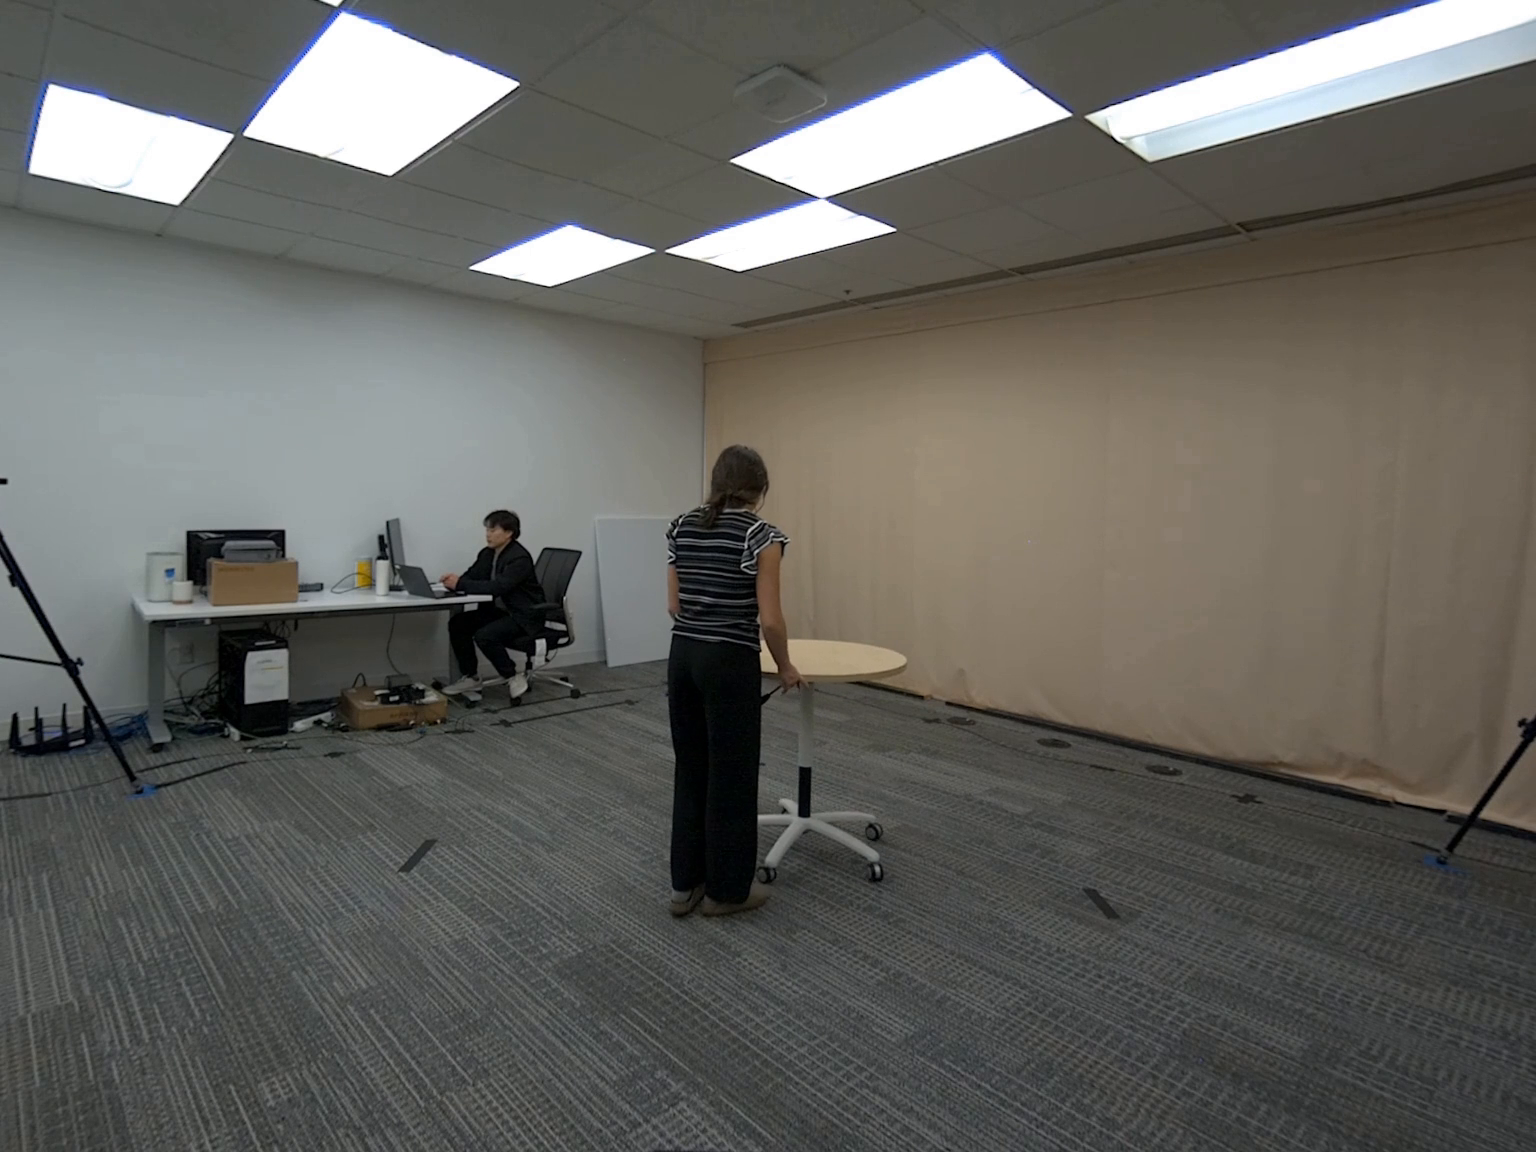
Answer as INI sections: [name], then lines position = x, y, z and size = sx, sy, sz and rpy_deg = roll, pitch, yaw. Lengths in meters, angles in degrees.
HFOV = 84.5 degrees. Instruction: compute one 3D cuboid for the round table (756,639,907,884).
[round table]
position = 0.134, 0.700, 3.316
size = 0.784, 0.785, 0.787
rpy_deg = 1, 4, -1
